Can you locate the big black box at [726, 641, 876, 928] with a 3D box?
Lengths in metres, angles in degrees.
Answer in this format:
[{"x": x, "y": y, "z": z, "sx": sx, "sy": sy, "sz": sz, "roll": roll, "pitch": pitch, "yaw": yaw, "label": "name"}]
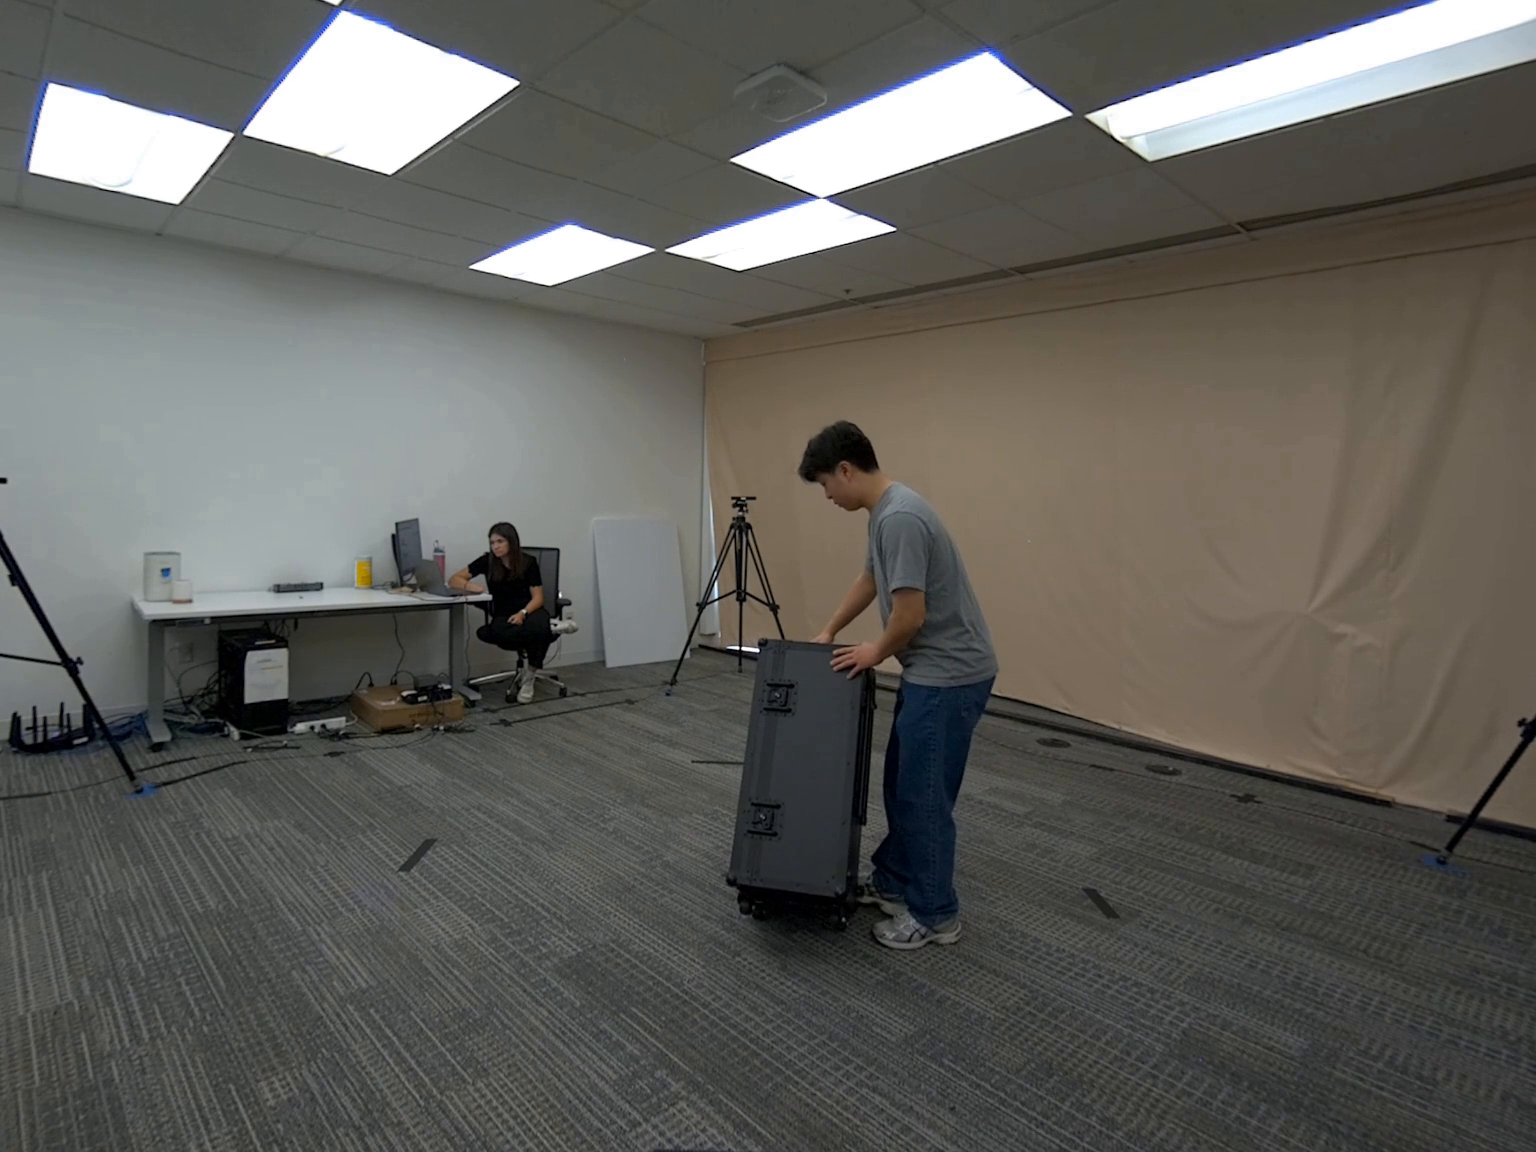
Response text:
[{"x": 0.135, "y": 0.708, "z": 2.839, "sx": 0.401, "sy": 0.873, "sz": 0.508, "roll": 2, "pitch": -26, "yaw": 13, "label": "big black box"}]
